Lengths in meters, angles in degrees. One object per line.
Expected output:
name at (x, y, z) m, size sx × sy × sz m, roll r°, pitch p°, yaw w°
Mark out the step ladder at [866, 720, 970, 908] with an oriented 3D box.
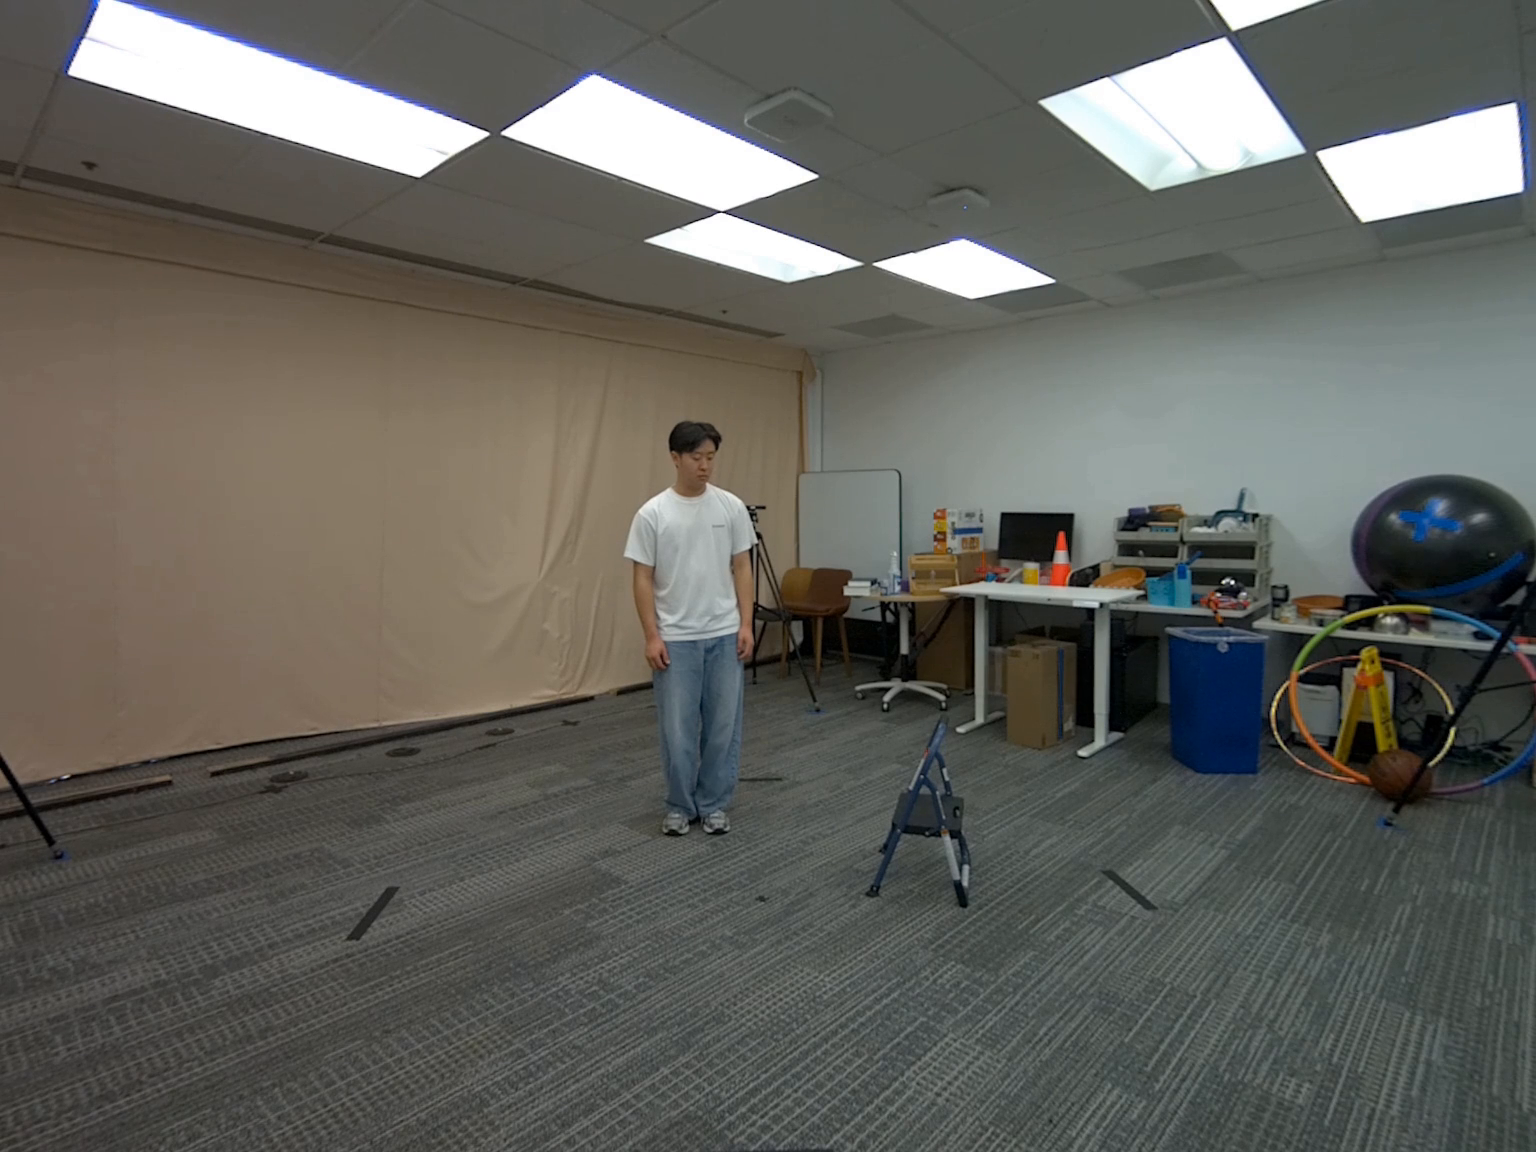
step ladder at (0.577, 0.826, 3.134) m, size 0.355 × 0.605 × 0.424 m, roll 1°, pitch 3°, yaw 16°
